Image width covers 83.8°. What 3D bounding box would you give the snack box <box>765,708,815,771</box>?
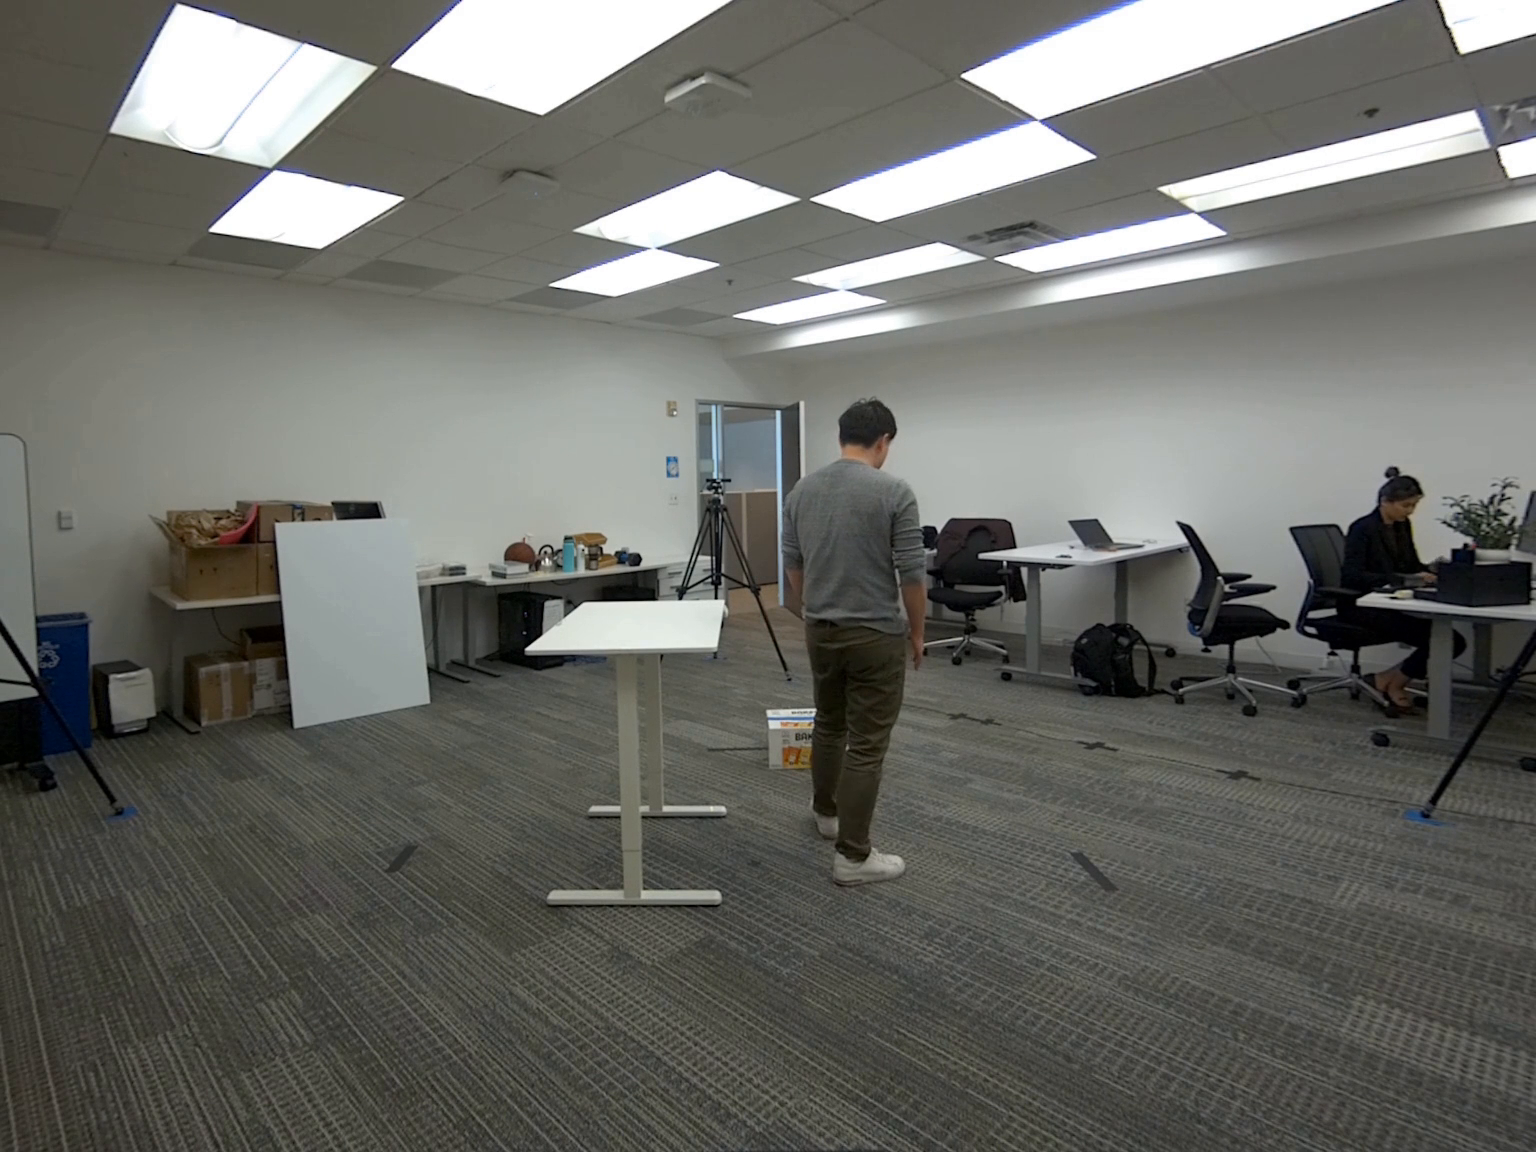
[{"bbox_3d":[0.203,0.808,4.275,0.405,0.205,0.342,-2,6,-1],"label":"snack box"}]
